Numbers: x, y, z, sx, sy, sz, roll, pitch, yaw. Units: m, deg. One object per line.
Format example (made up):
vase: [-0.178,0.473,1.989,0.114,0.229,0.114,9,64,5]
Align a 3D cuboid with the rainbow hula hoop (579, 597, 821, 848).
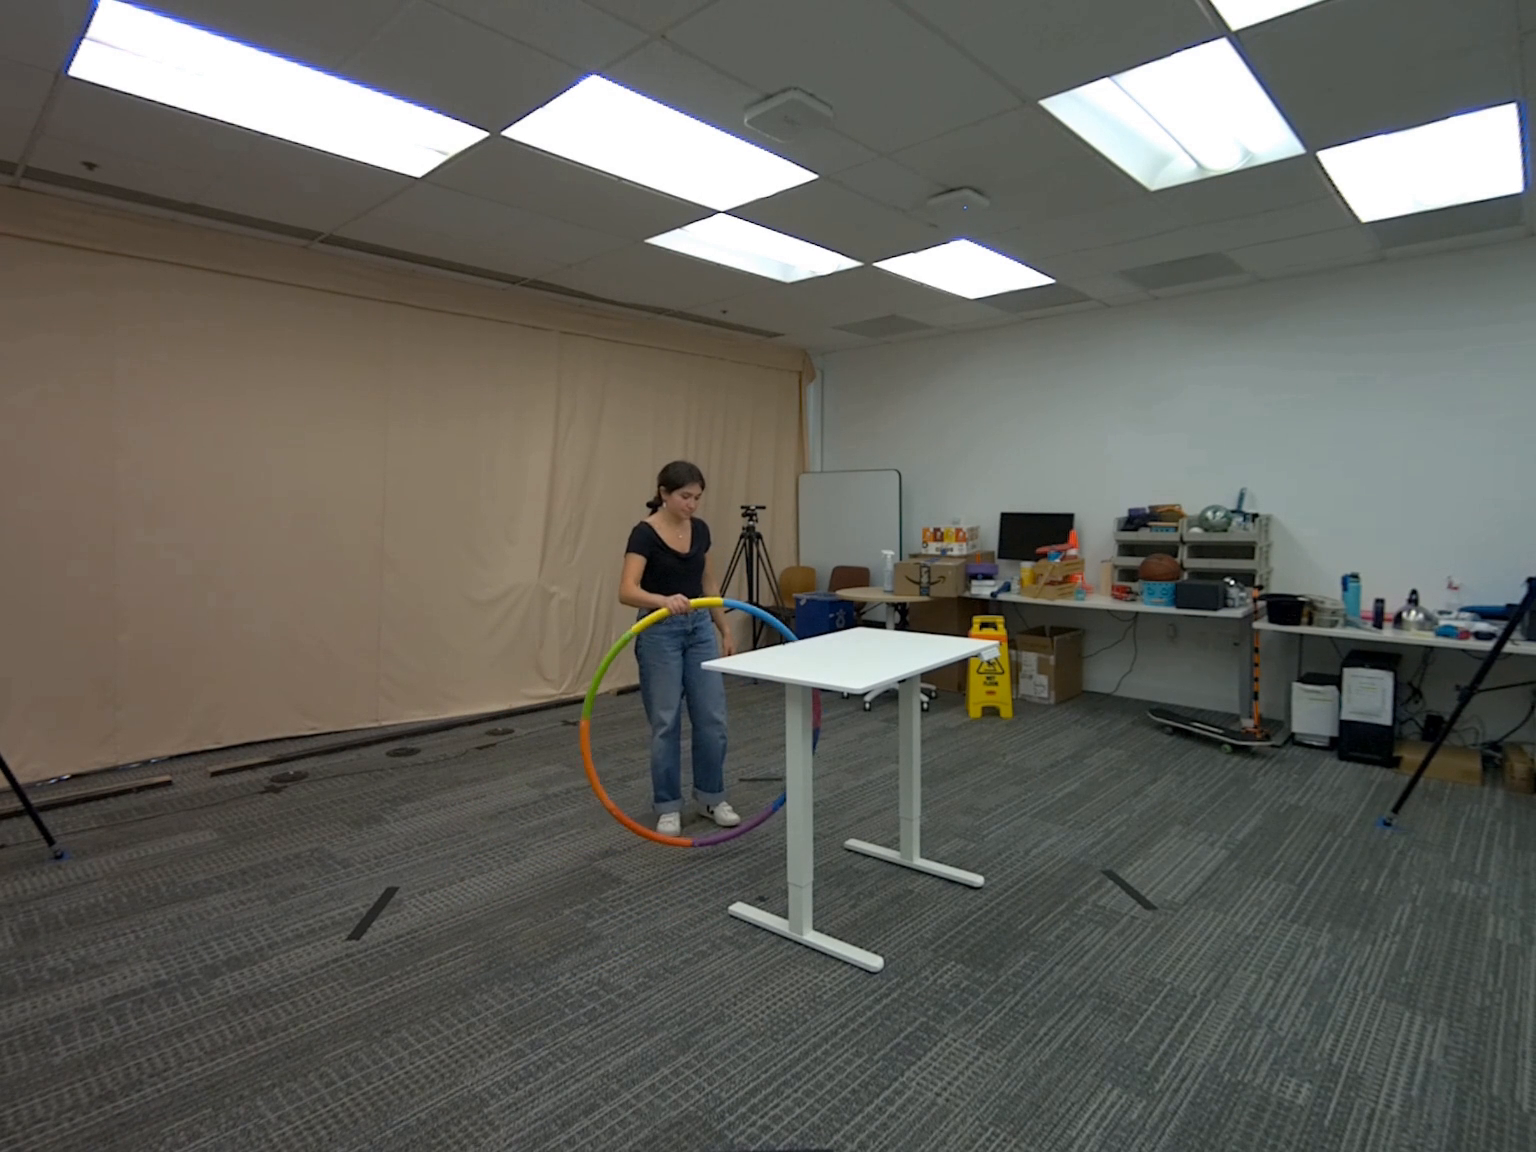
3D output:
rainbow hula hoop: [-0.243,0.584,3.292,0.961,0.974,0.036,-1,7,-17]
